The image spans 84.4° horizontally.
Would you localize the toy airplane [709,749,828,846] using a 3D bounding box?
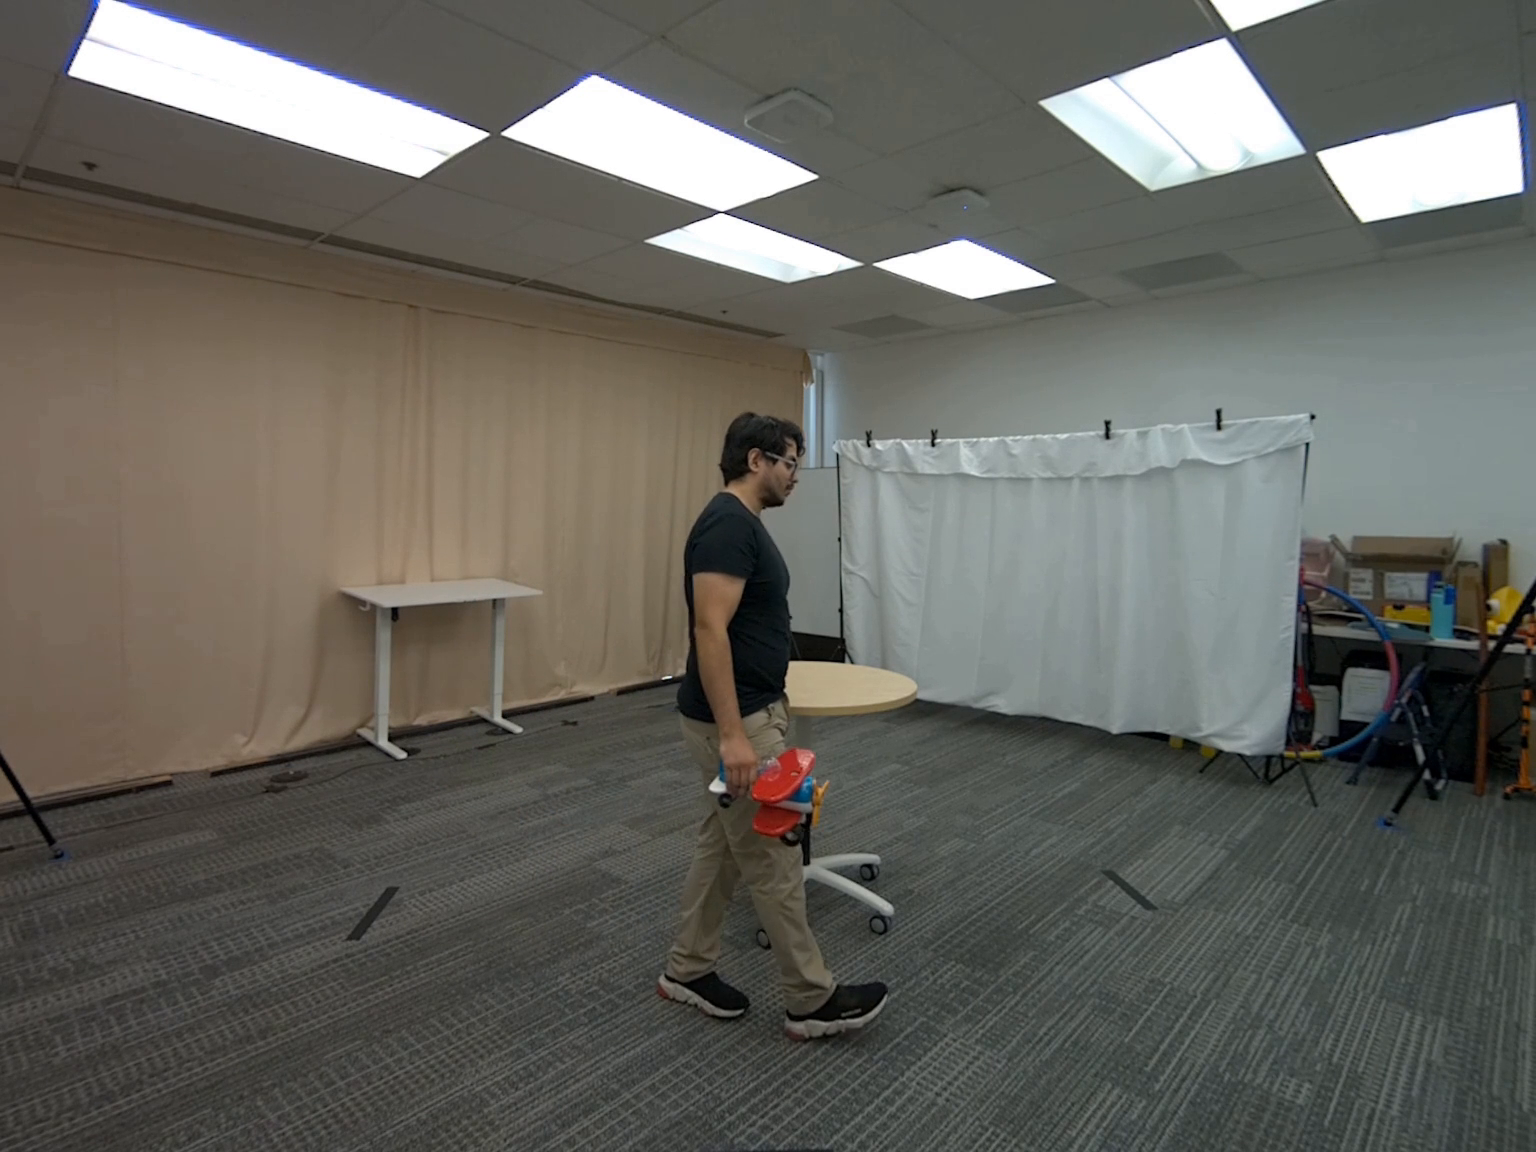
[{"bbox_3d":[0.001,0.503,1.934,0.258,0.155,0.254,10,18,-6],"label":"toy airplane"}]
